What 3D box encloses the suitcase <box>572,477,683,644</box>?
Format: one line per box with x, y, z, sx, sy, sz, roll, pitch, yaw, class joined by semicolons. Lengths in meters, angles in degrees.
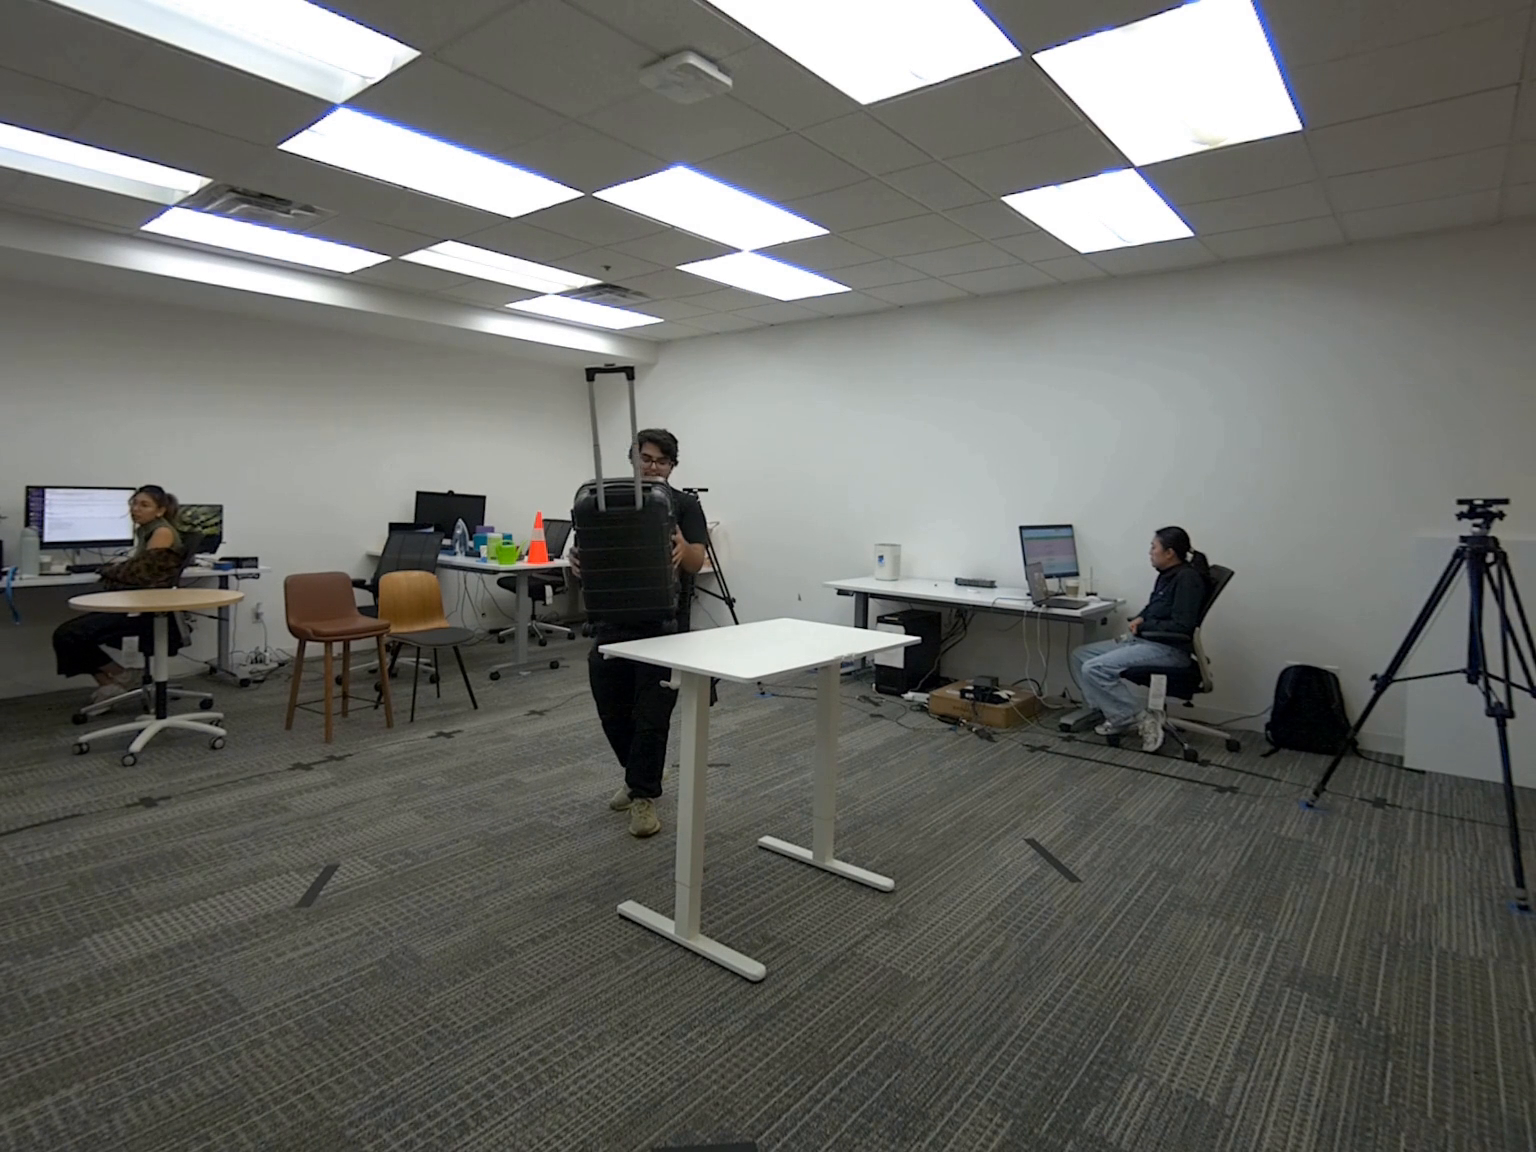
-0.522;-0.280;3.037;0.386;0.960;0.261;1;20;3;suitcase
